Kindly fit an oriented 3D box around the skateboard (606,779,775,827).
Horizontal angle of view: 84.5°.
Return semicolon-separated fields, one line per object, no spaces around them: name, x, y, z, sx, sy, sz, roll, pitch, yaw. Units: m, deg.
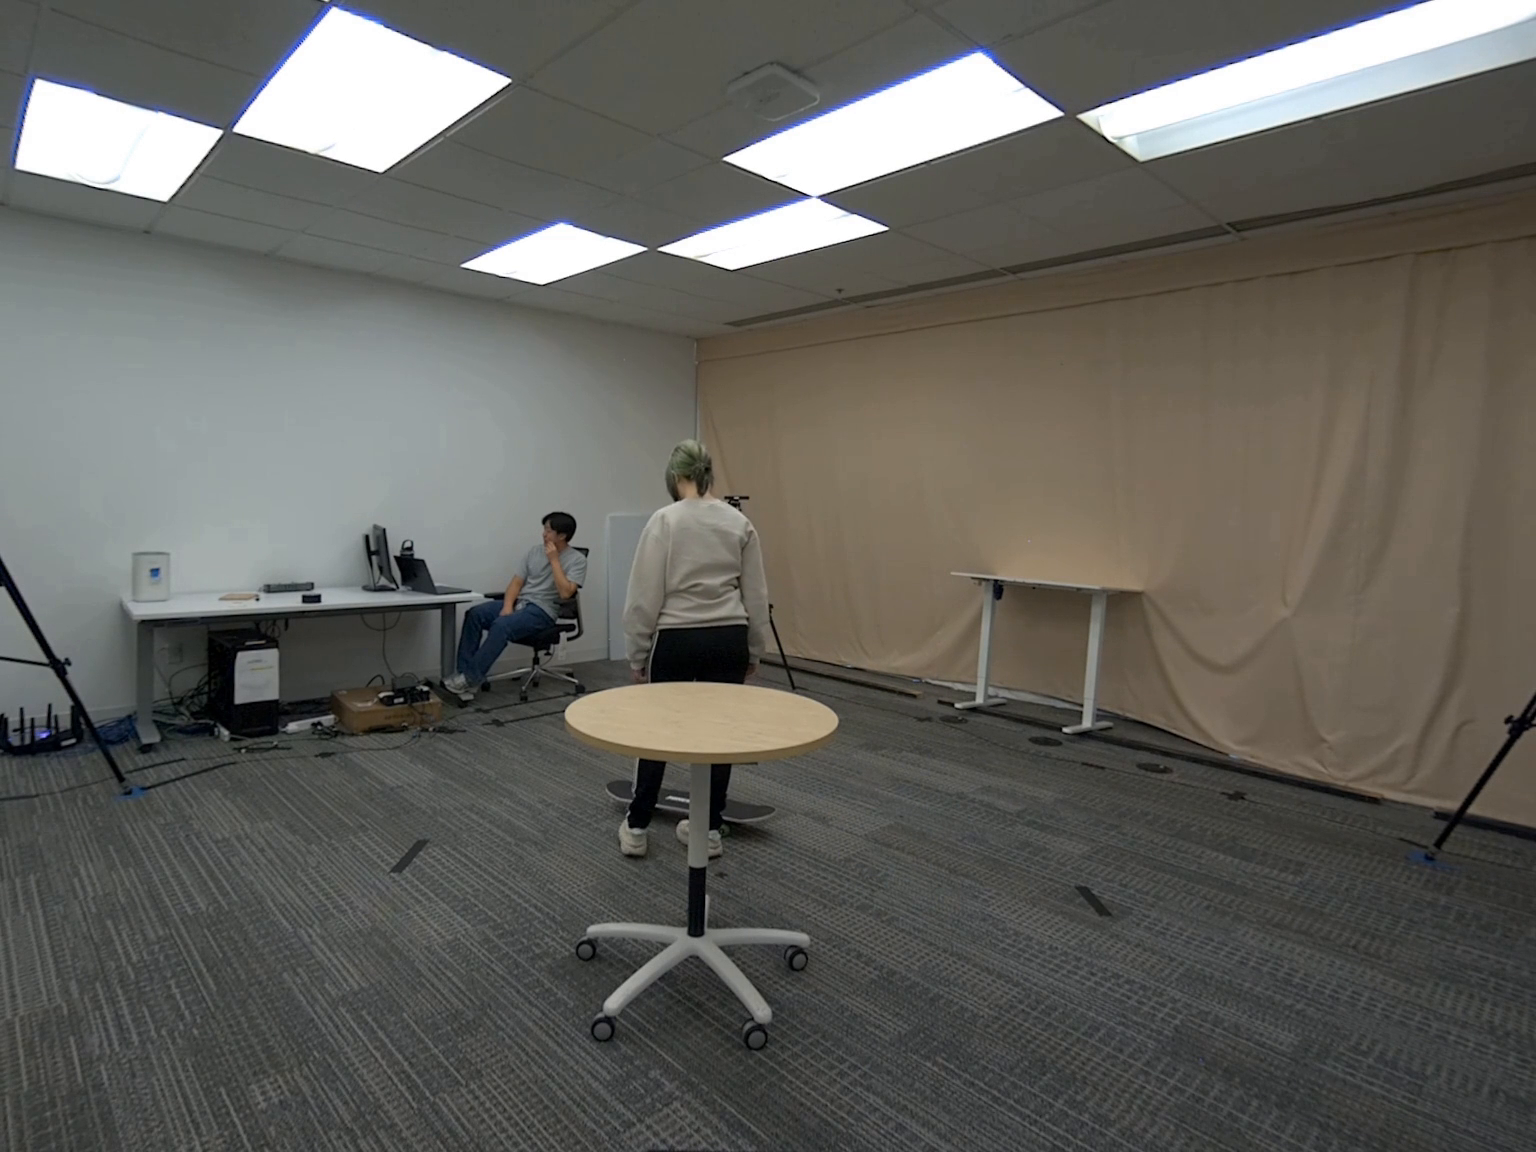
skateboard;-0.355;0.995;3.609;0.800;0.110;0.190;4;5;23
